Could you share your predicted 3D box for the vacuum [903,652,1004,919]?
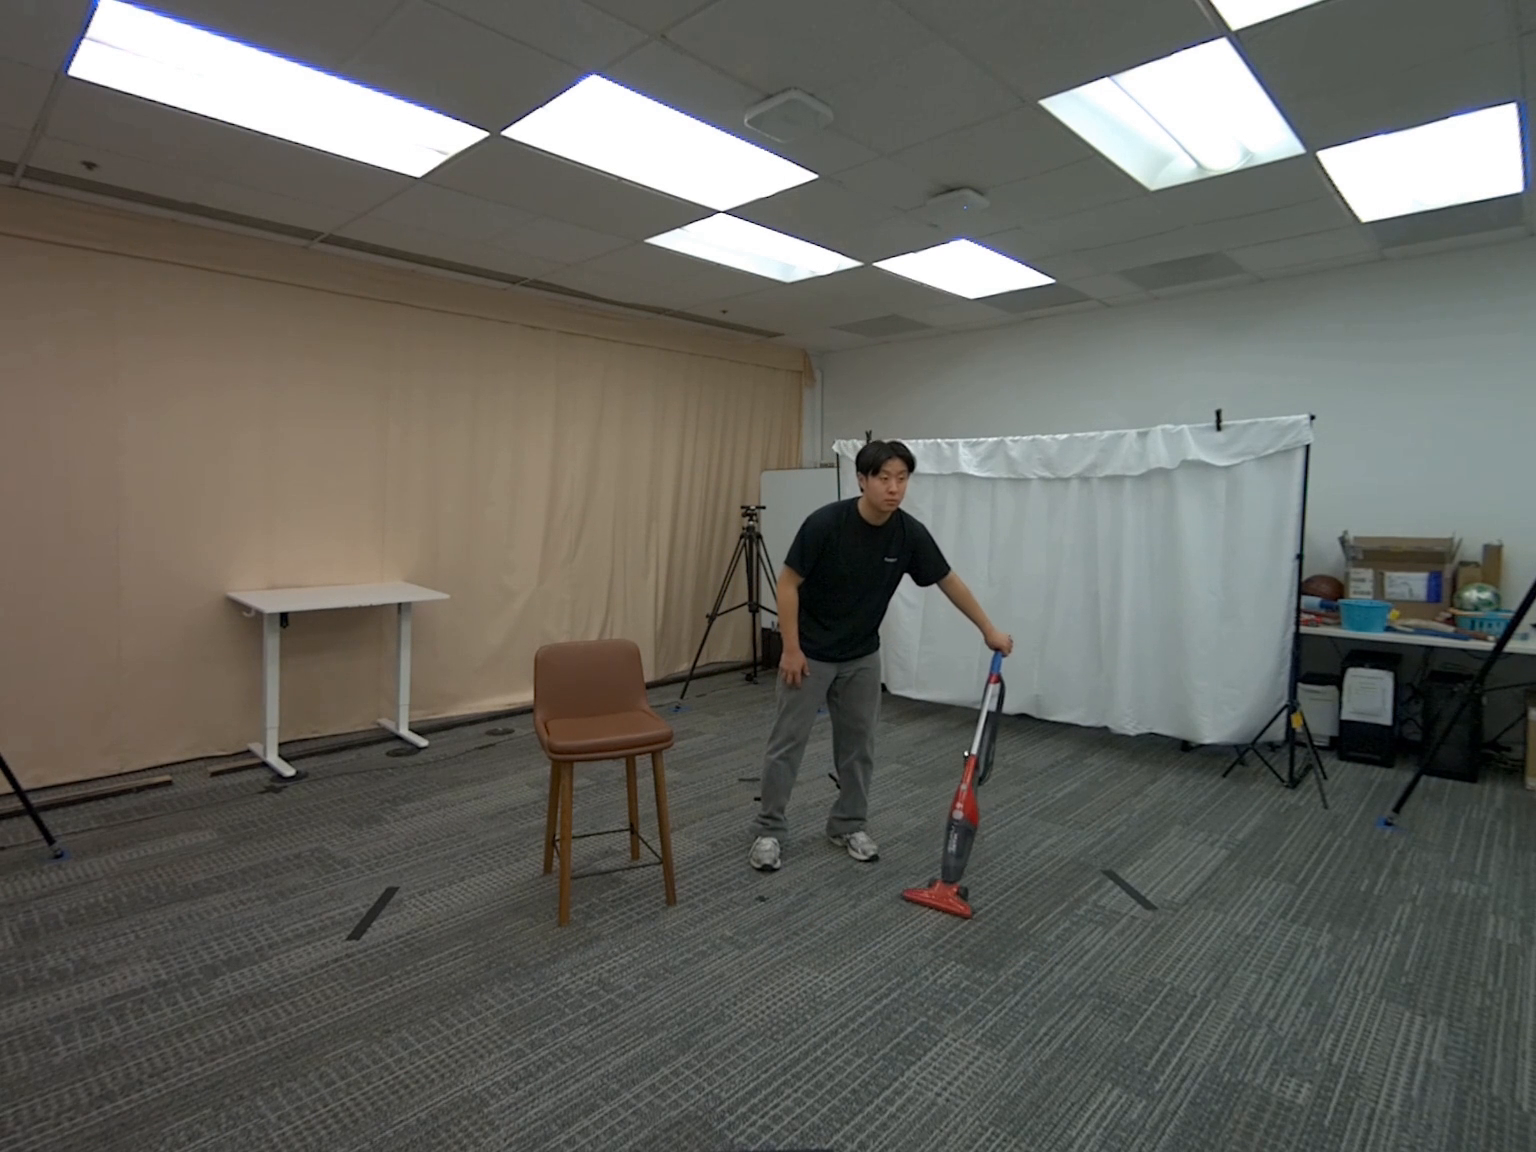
[{"bbox_3d":[0.790,0.704,3.163,0.260,1.053,0.139,3,-33,35],"label":"vacuum"}]
